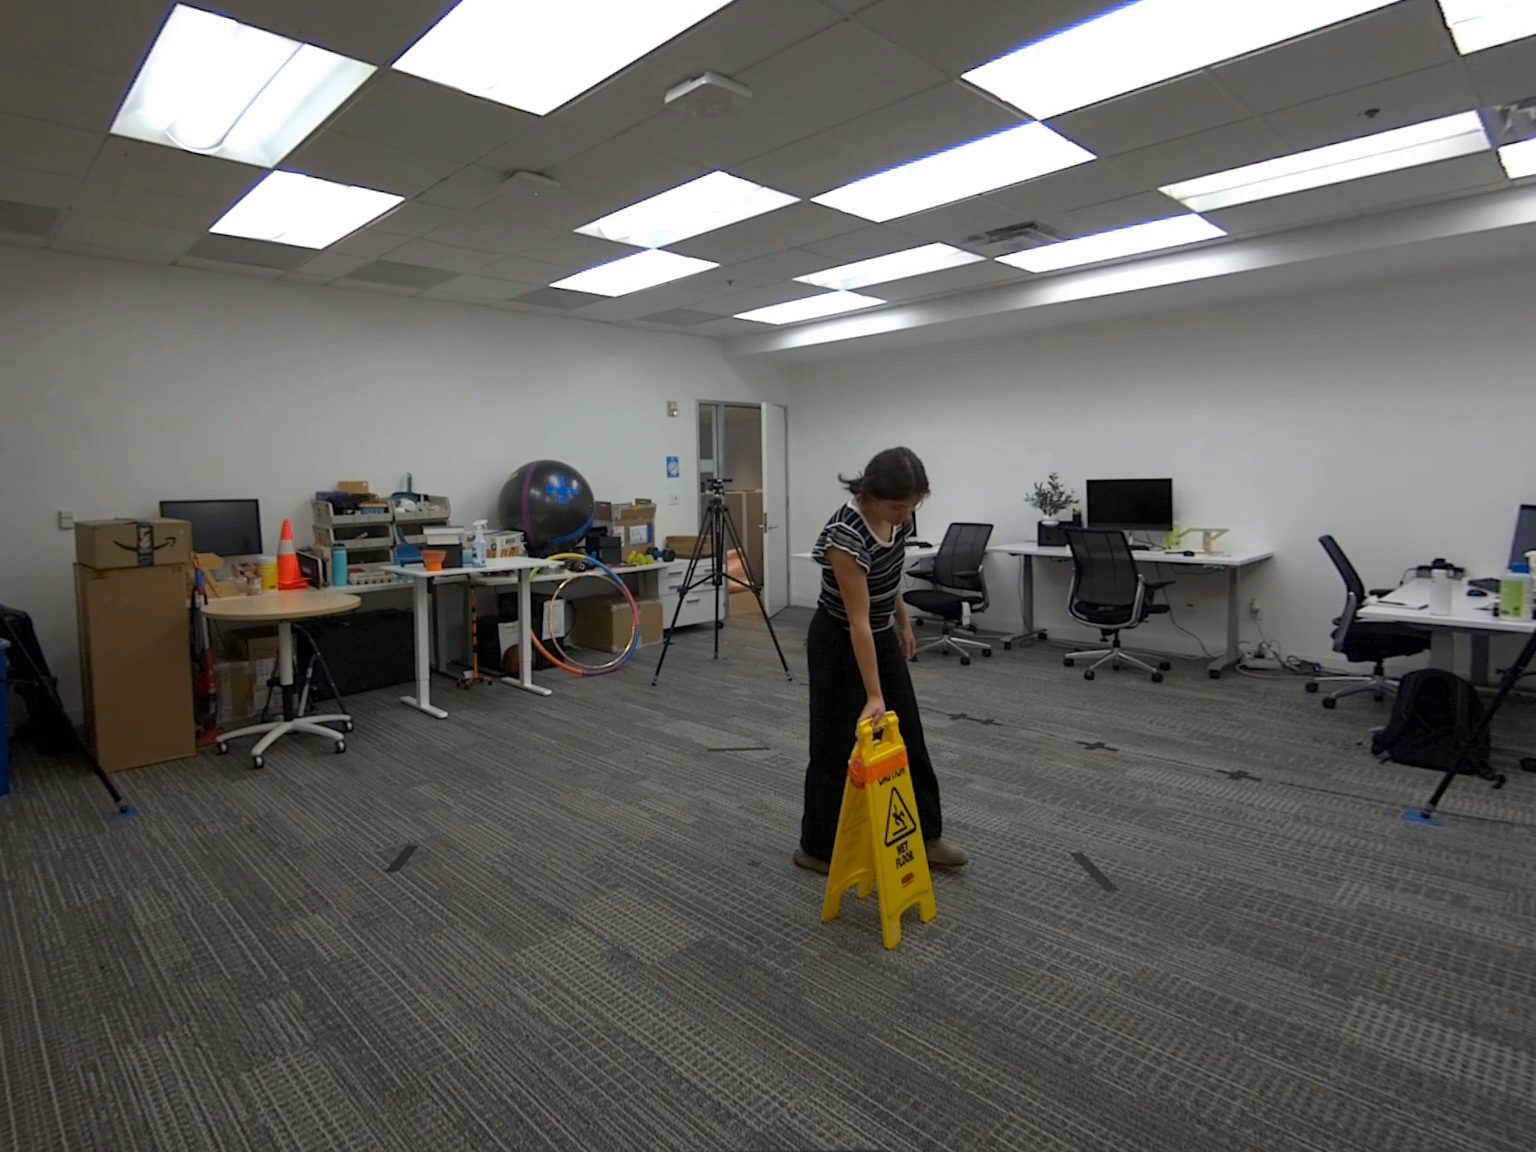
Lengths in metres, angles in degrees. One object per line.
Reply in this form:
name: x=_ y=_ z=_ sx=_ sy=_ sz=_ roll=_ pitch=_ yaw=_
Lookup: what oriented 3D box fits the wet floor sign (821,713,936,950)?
wet floor sign: x=0.348 y=0.767 z=2.681 sx=0.299 sy=0.643 sz=0.275 roll=4 pitch=7 yaw=40
